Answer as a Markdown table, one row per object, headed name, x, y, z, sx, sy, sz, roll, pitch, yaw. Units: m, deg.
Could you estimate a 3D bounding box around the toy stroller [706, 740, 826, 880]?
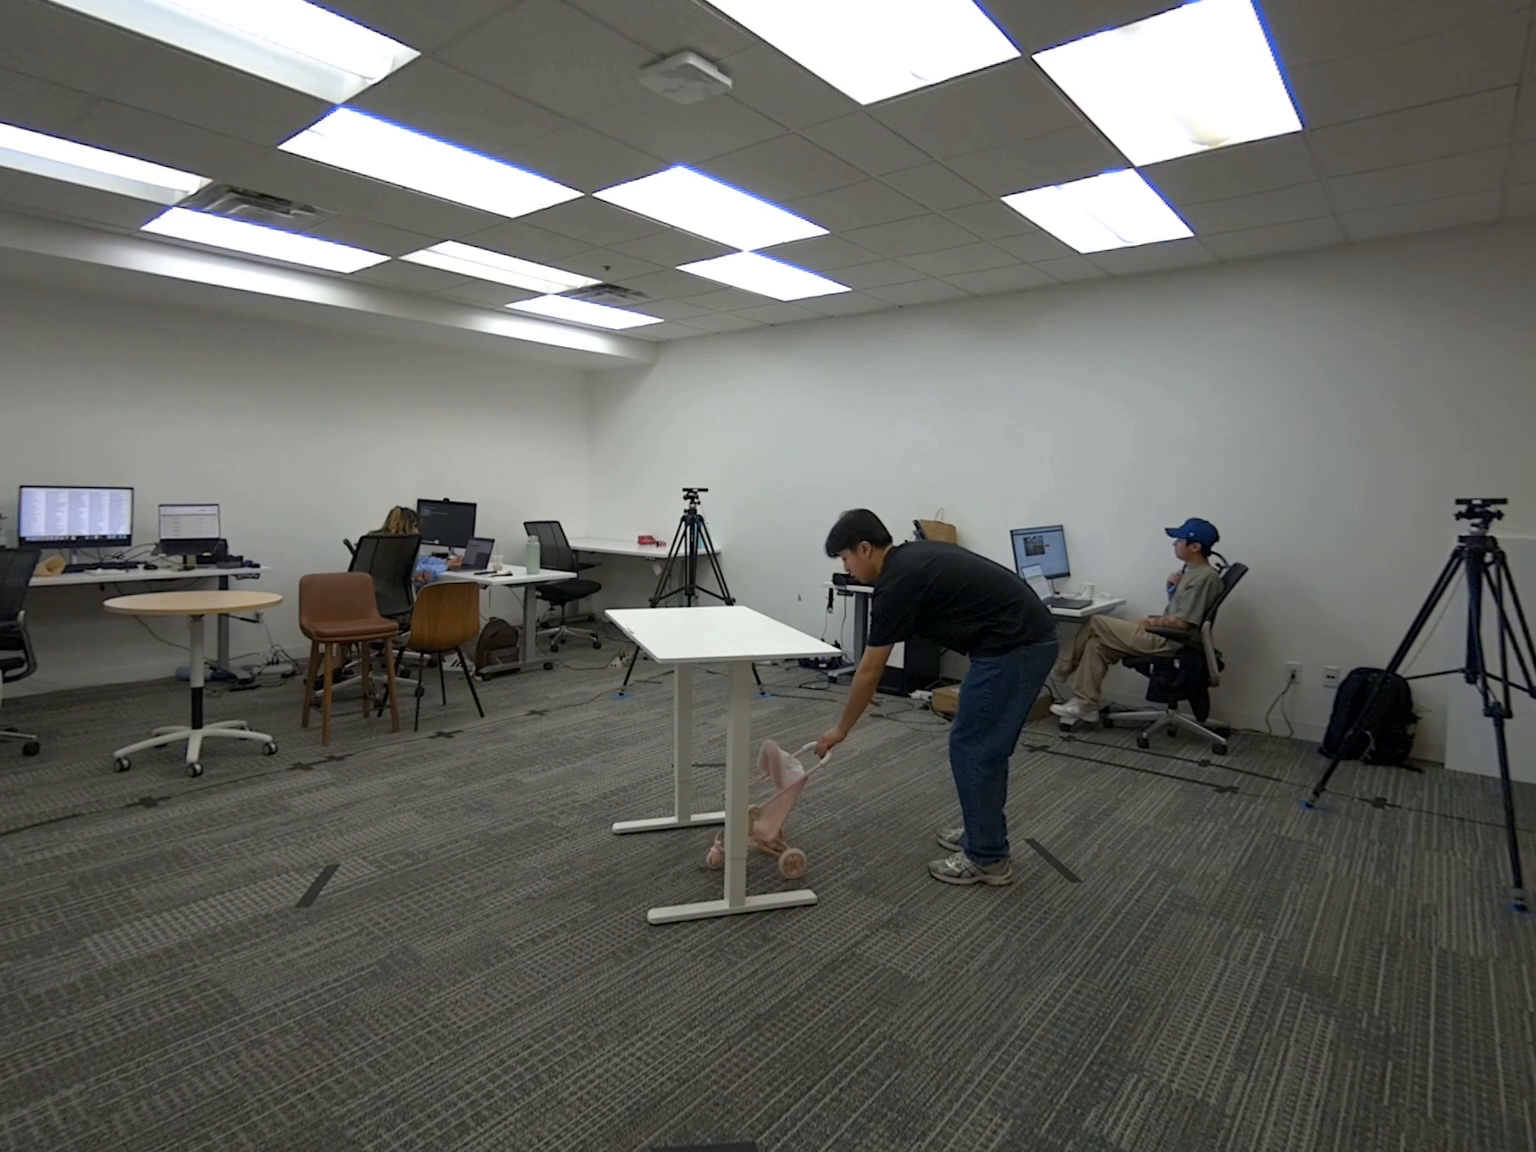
| name | x | y | z | sx | sy | sz | roll | pitch | yaw |
| --- | --- | --- | --- | --- | --- | --- | --- | --- | --- |
| toy stroller | -0.018 | 0.846 | 3.149 | 0.337 | 0.535 | 0.285 | 16 | -1 | -11 |
